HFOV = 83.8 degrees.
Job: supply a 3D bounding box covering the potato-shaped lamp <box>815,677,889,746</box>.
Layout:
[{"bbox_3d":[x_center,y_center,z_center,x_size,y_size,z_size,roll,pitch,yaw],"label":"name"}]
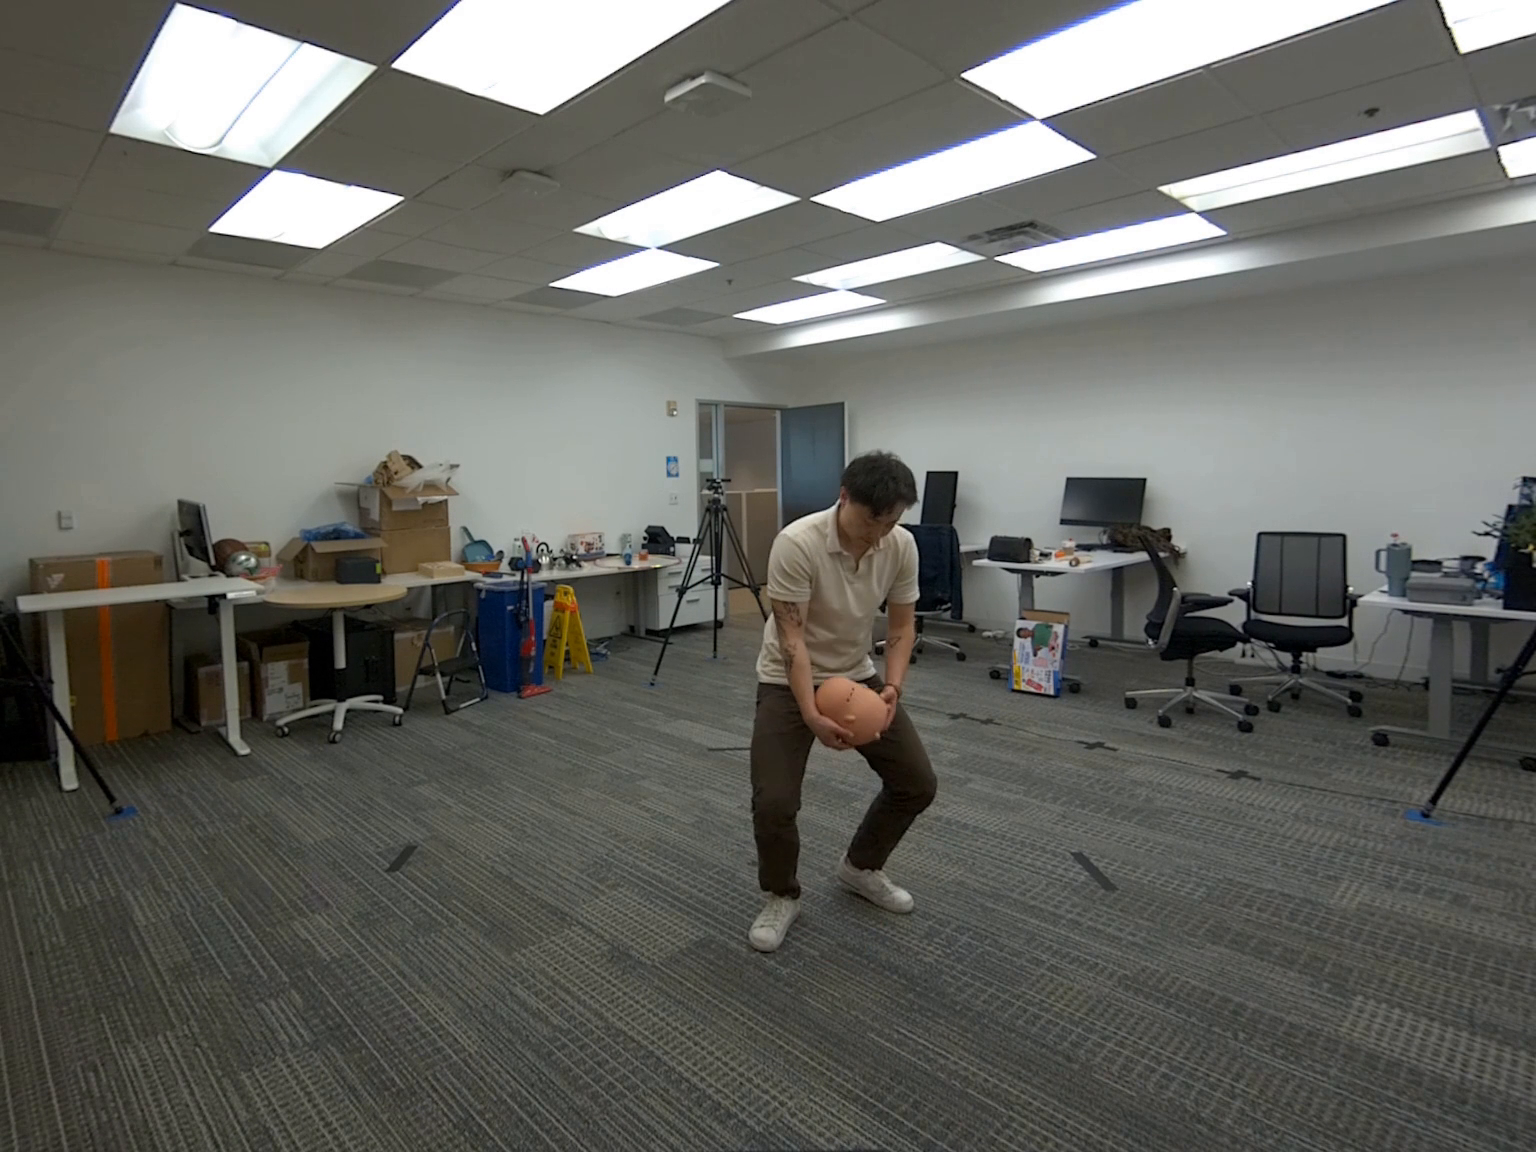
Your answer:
[{"bbox_3d":[0.229,0.382,2.448,0.174,0.194,0.165,-25,24,52],"label":"potato-shaped lamp"}]
